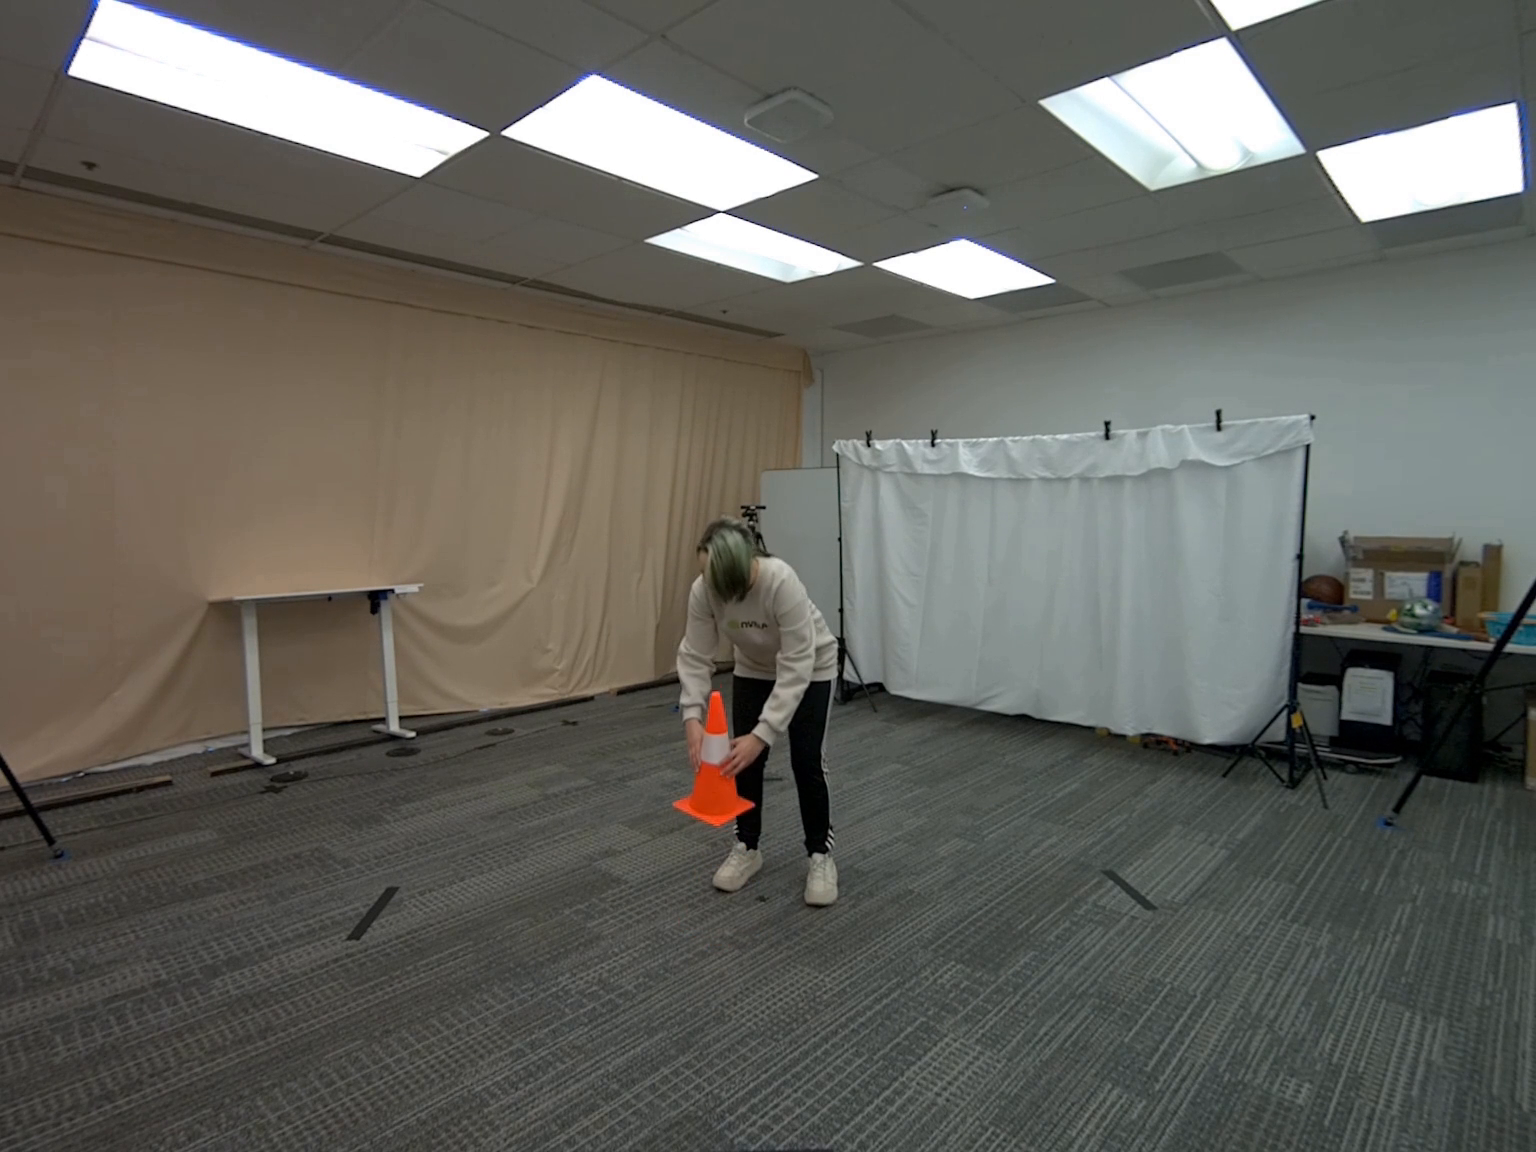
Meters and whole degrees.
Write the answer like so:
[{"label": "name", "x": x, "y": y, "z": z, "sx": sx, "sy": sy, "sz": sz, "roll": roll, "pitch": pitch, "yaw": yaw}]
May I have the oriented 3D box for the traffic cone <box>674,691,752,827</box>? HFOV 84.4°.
[{"label": "traffic cone", "x": -0.165, "y": 0.563, "z": 2.702, "sx": 0.212, "sy": 0.382, "sz": 0.197, "roll": 9, "pitch": 11, "yaw": 43}]
